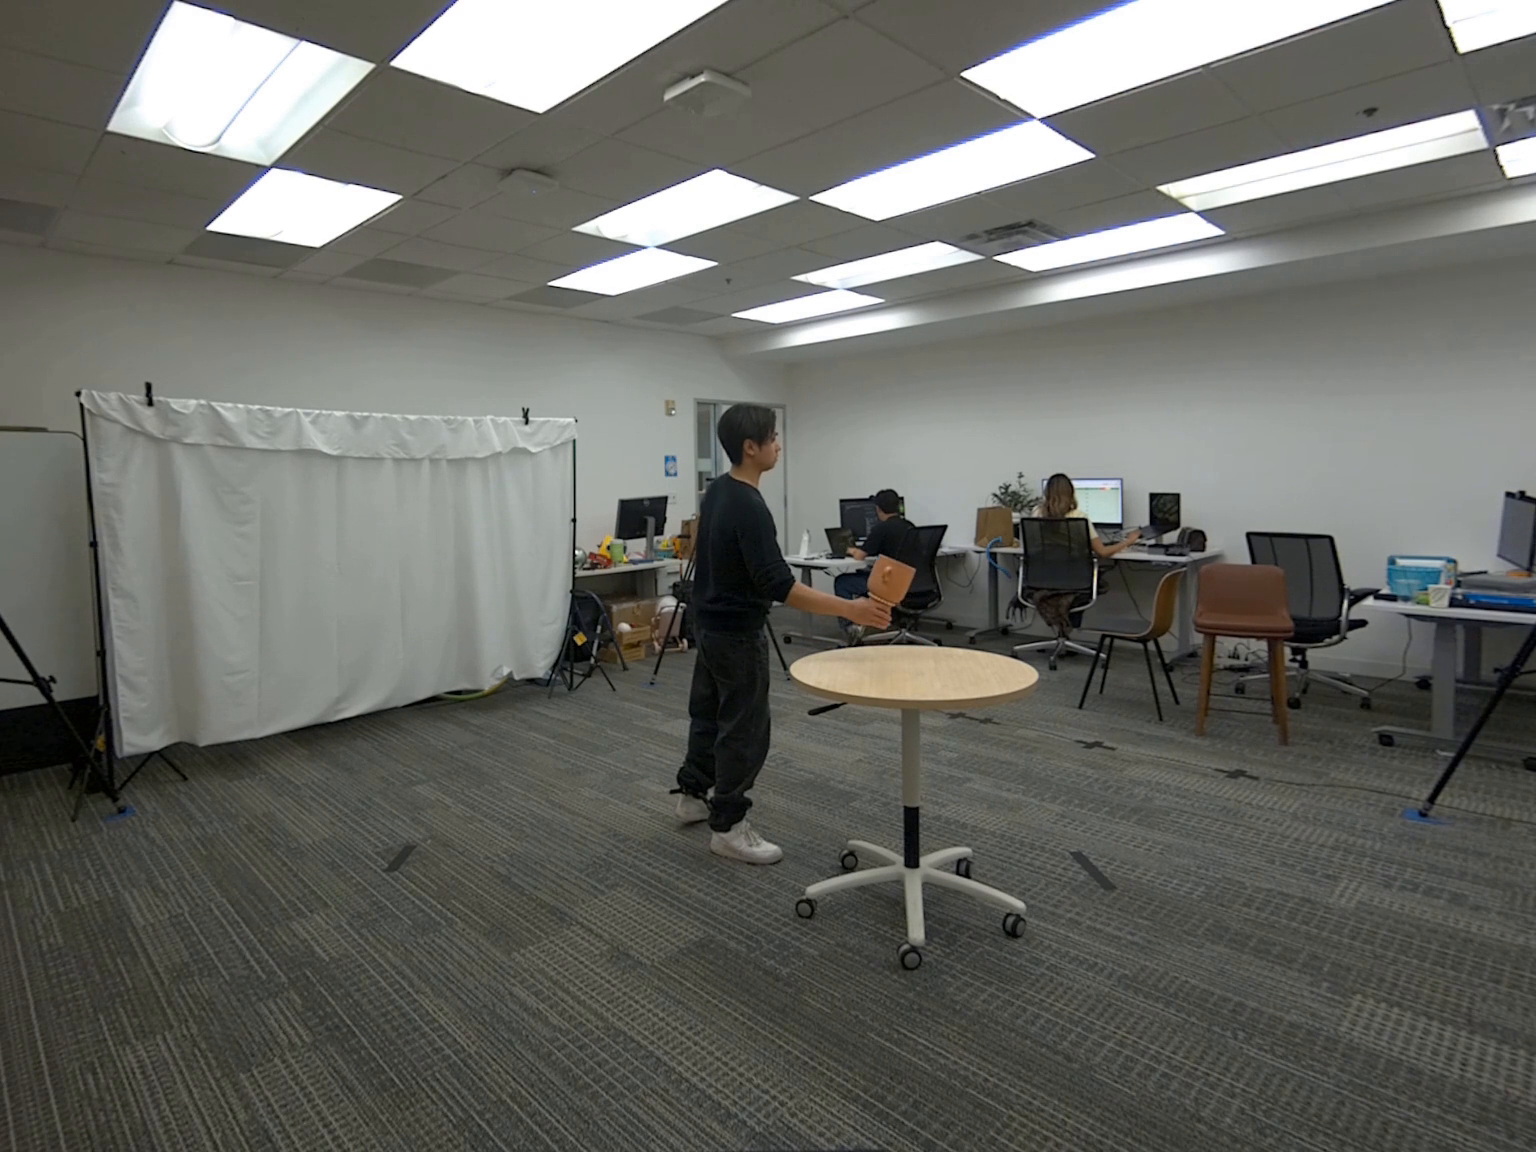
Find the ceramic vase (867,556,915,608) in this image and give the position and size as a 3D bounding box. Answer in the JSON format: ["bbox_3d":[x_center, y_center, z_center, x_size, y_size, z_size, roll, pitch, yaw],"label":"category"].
[{"bbox_3d":[0.392,0.051,2.883,0.154,0.219,0.139,20,4,-27],"label":"ceramic vase"}]
